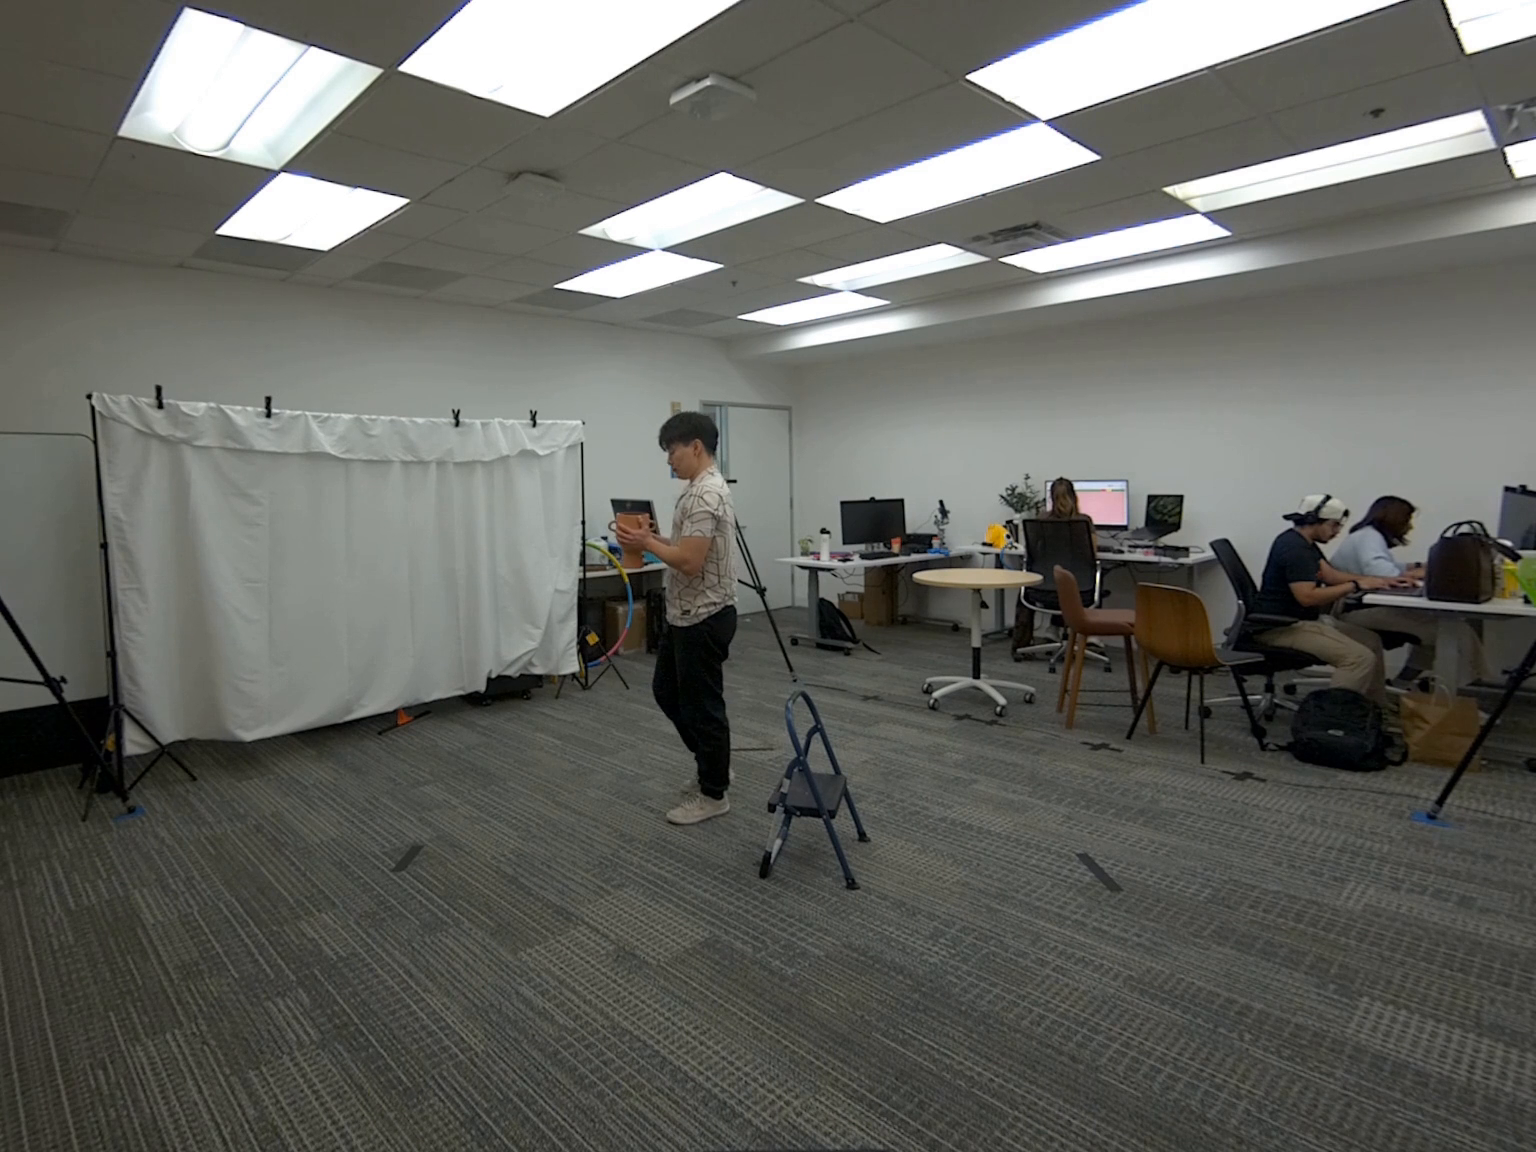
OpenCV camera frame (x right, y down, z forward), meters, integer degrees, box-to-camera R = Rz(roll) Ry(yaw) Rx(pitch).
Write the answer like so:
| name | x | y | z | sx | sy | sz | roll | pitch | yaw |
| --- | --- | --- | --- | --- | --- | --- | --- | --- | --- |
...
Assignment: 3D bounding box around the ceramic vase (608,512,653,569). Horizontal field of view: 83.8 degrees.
| name | x | y | z | sx | sy | sz | roll | pitch | yaw |
| --- | --- | --- | --- | --- | --- | --- | --- | --- | --- |
| ceramic vase | -0.556 | -0.145 | 3.487 | 0.162 | 0.219 | 0.132 | 4 | 6 | 24 |
